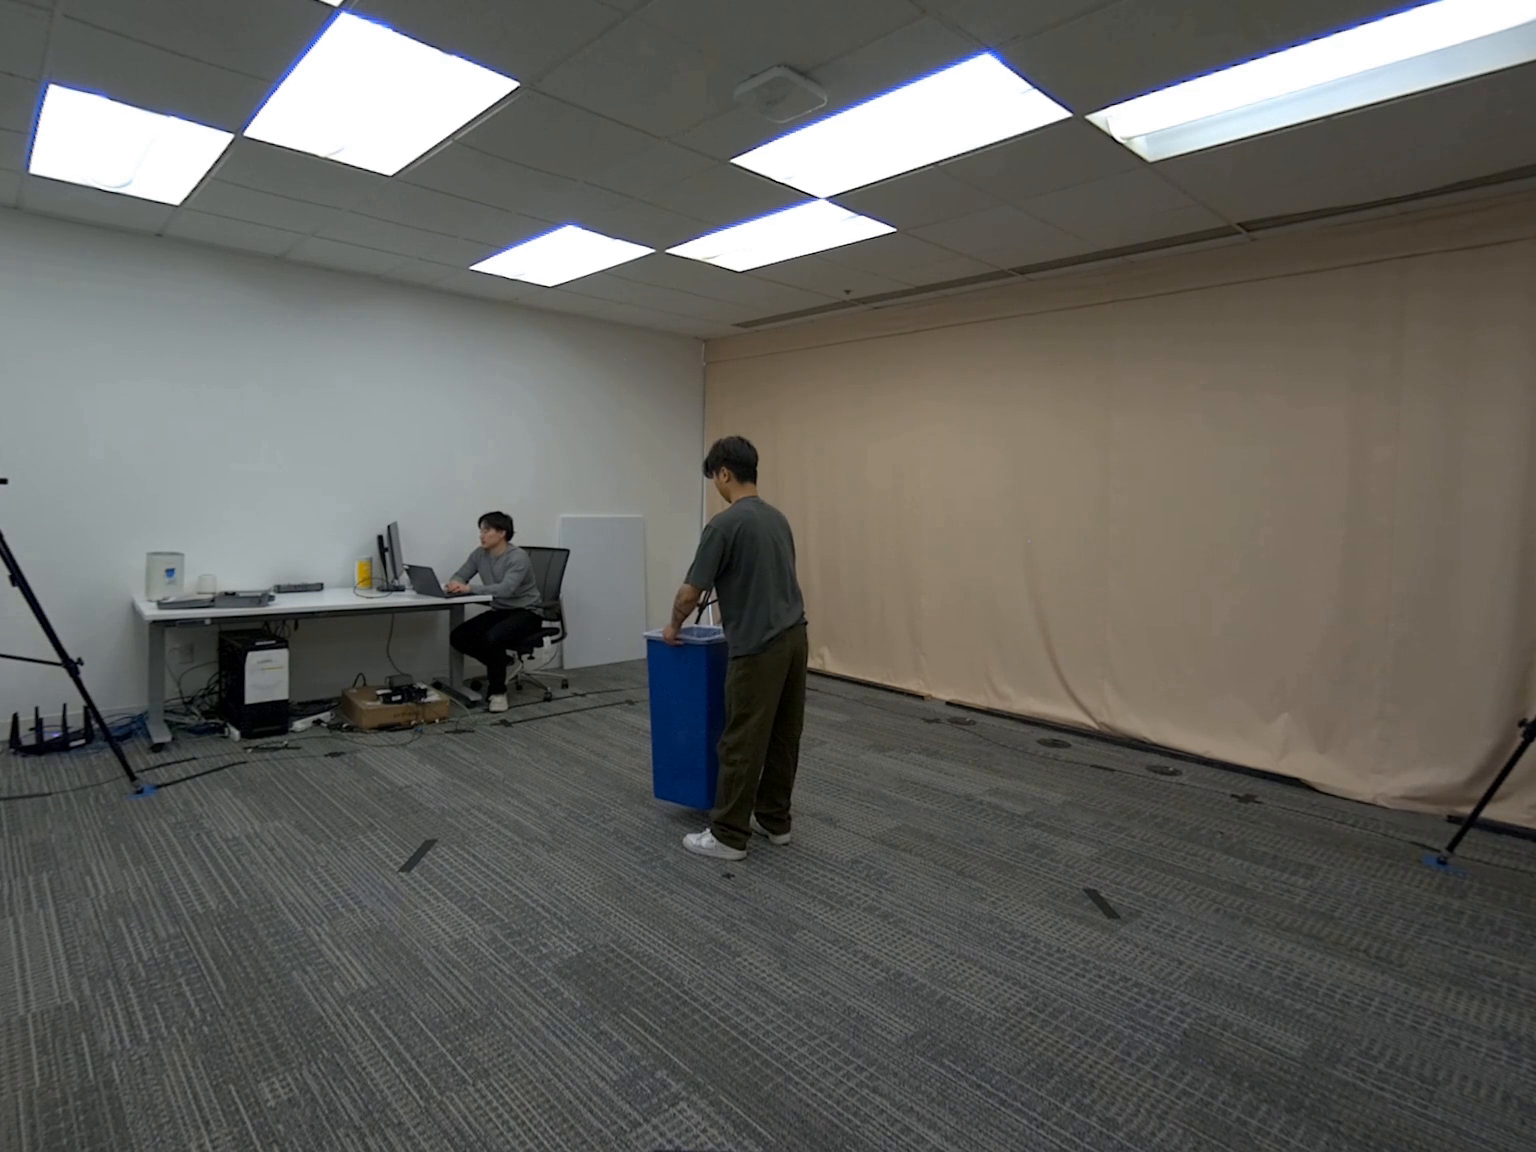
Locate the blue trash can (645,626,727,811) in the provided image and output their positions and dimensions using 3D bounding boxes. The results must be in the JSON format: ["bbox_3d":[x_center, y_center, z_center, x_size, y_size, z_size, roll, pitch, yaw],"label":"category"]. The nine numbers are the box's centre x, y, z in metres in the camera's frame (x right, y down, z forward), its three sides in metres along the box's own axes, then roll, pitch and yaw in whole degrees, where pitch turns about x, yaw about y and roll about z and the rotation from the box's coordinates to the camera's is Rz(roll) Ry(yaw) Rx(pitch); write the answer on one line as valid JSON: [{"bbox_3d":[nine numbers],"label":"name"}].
[{"bbox_3d":[-0.302,0.593,3.646,0.387,0.713,0.366,1,1,35],"label":"blue trash can"}]
